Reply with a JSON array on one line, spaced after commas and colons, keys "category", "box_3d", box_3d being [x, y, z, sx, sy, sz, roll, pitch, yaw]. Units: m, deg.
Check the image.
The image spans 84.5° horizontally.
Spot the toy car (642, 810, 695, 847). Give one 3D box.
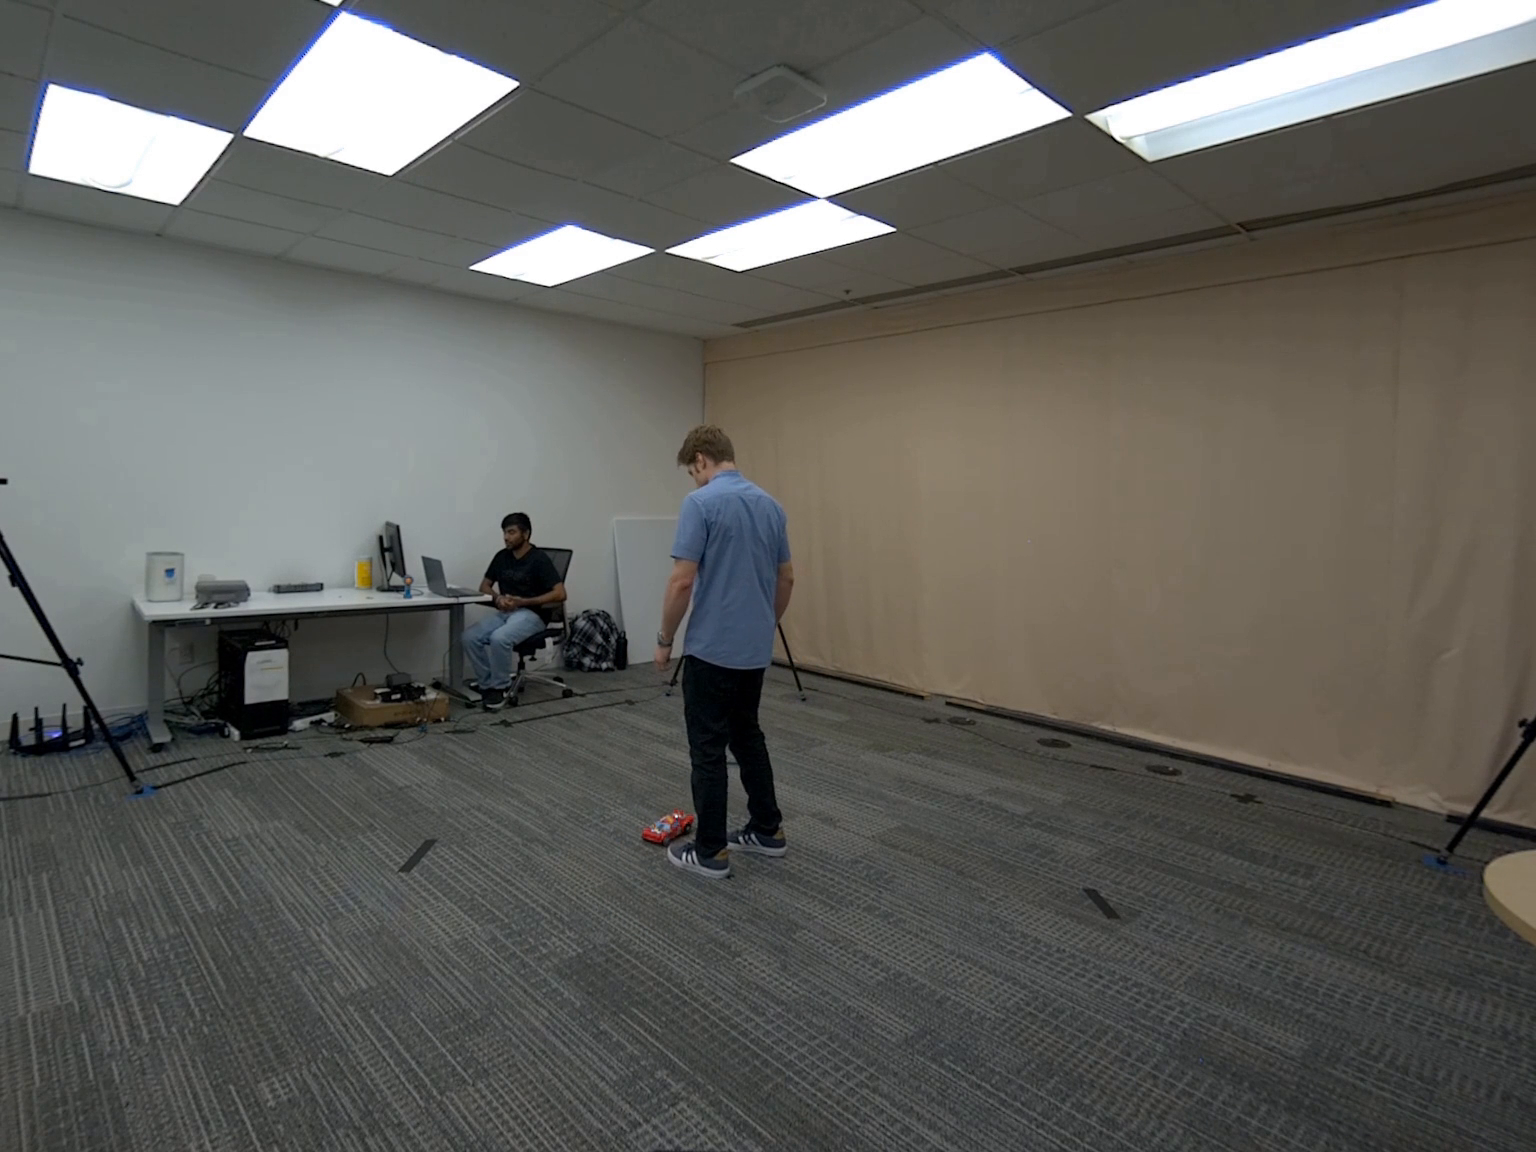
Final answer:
[{"category": "toy car", "box_3d": [-0.411, 1.037, 3.466, 0.133, 0.082, 0.251, 3, 16, 32]}]
